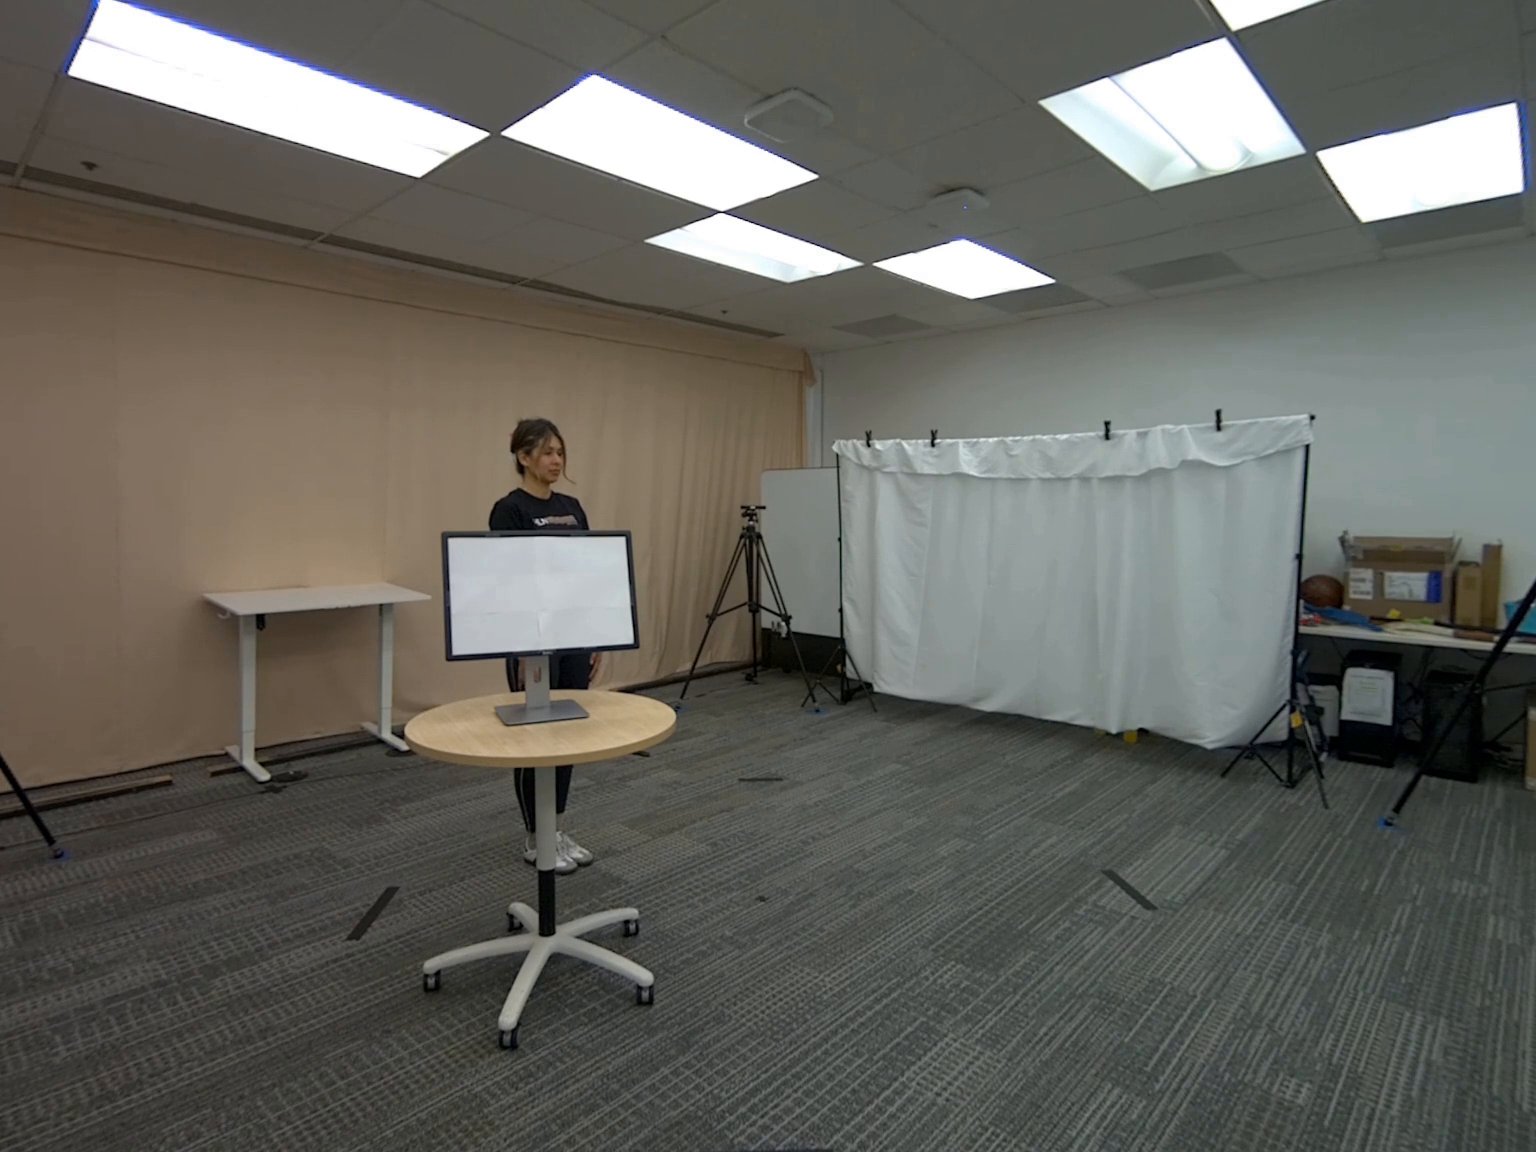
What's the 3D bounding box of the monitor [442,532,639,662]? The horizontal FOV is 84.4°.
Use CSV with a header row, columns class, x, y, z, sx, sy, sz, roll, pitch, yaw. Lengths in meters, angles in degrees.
class,x,y,z,sx,sy,sz,roll,pitch,yaw
monitor,-0.671,0.144,2.479,0.525,0.521,0.192,-1,3,-28
